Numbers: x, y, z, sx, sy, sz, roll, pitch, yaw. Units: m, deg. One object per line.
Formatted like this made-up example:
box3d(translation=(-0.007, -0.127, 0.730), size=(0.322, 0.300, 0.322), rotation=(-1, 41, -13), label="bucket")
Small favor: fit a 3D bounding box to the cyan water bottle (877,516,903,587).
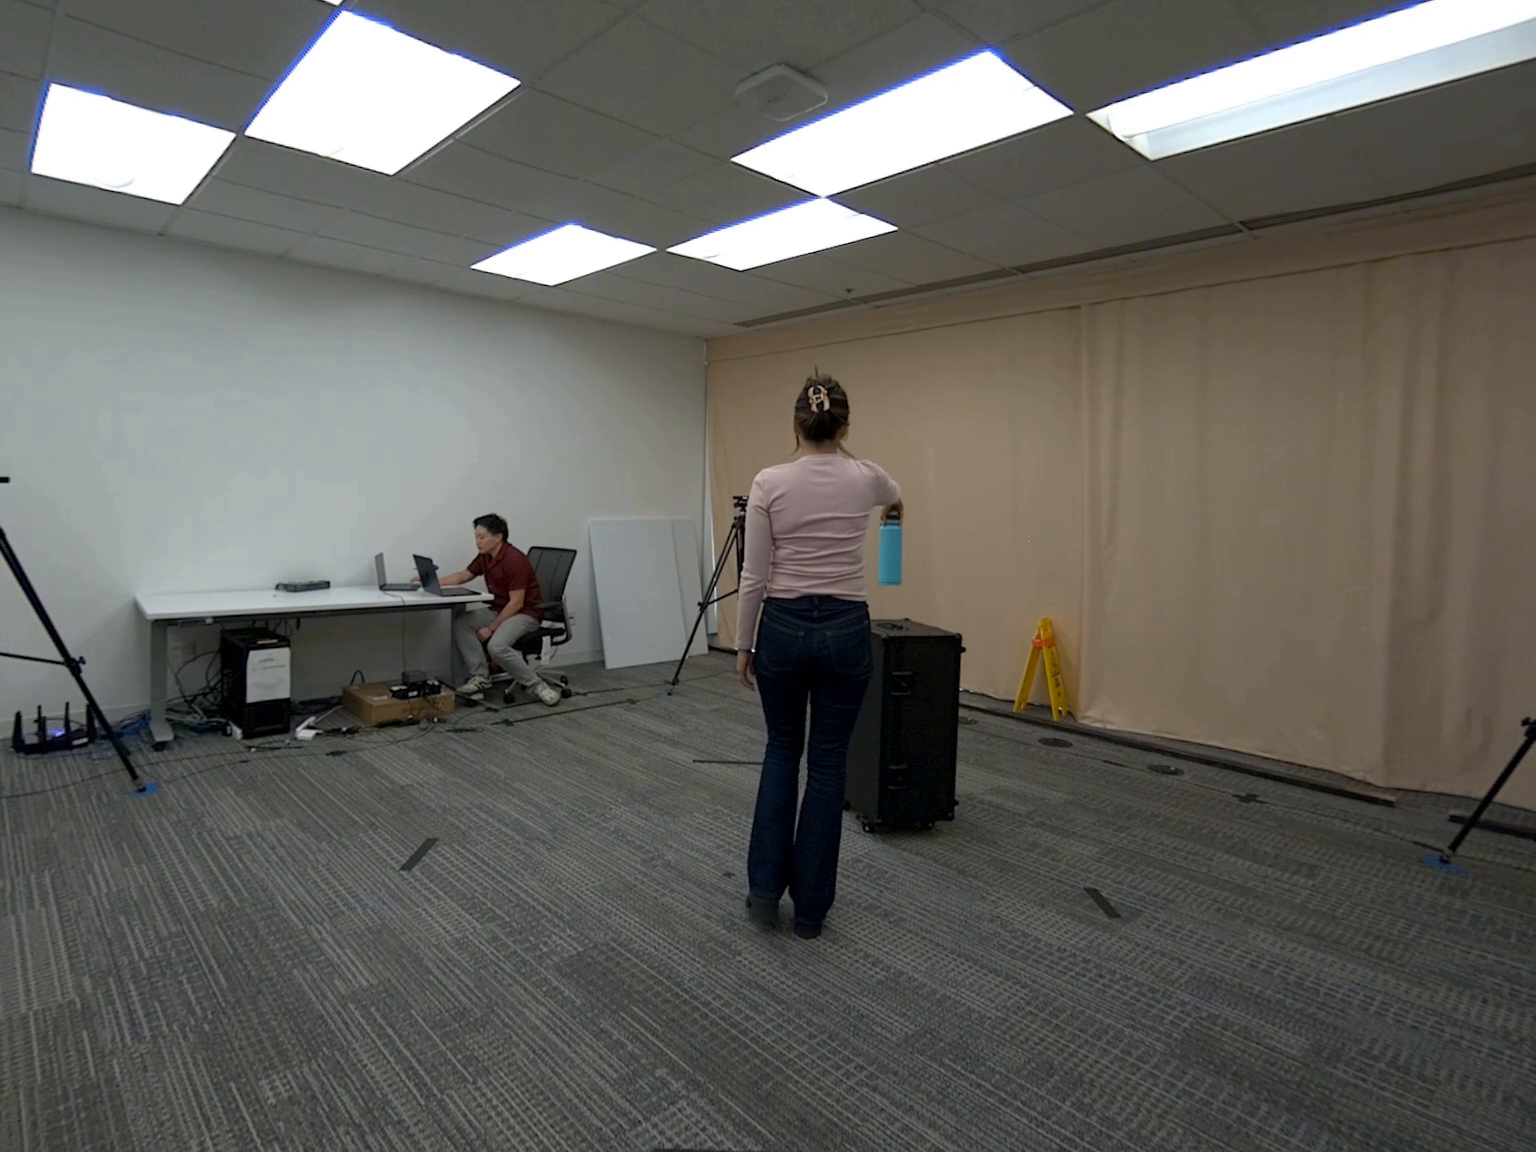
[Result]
box3d(translation=(0.465, -0.107, 3.246), size=(0.092, 0.283, 0.092), rotation=(0, 1, -1), label="cyan water bottle")
